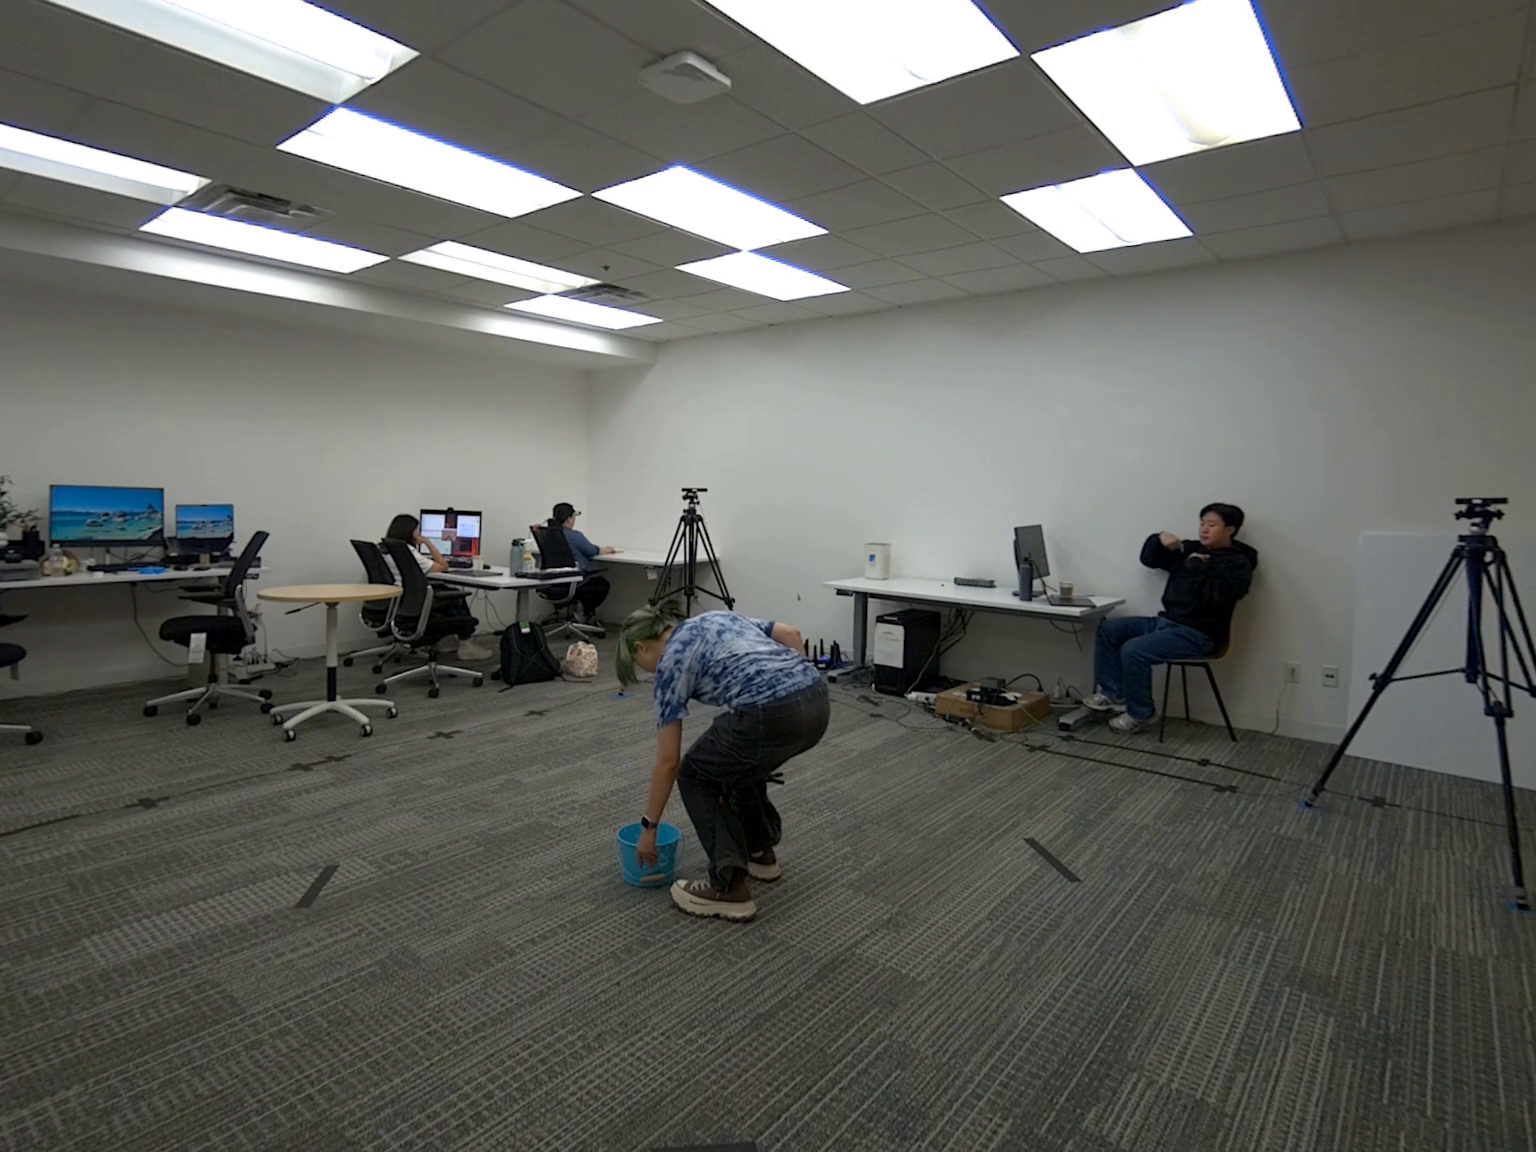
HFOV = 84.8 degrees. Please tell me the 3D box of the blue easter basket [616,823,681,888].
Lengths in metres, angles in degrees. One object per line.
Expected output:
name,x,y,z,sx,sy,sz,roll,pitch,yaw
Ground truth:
blue easter basket,-0.441,0.997,3.050,0.243,0.155,0.245,1,4,-2
